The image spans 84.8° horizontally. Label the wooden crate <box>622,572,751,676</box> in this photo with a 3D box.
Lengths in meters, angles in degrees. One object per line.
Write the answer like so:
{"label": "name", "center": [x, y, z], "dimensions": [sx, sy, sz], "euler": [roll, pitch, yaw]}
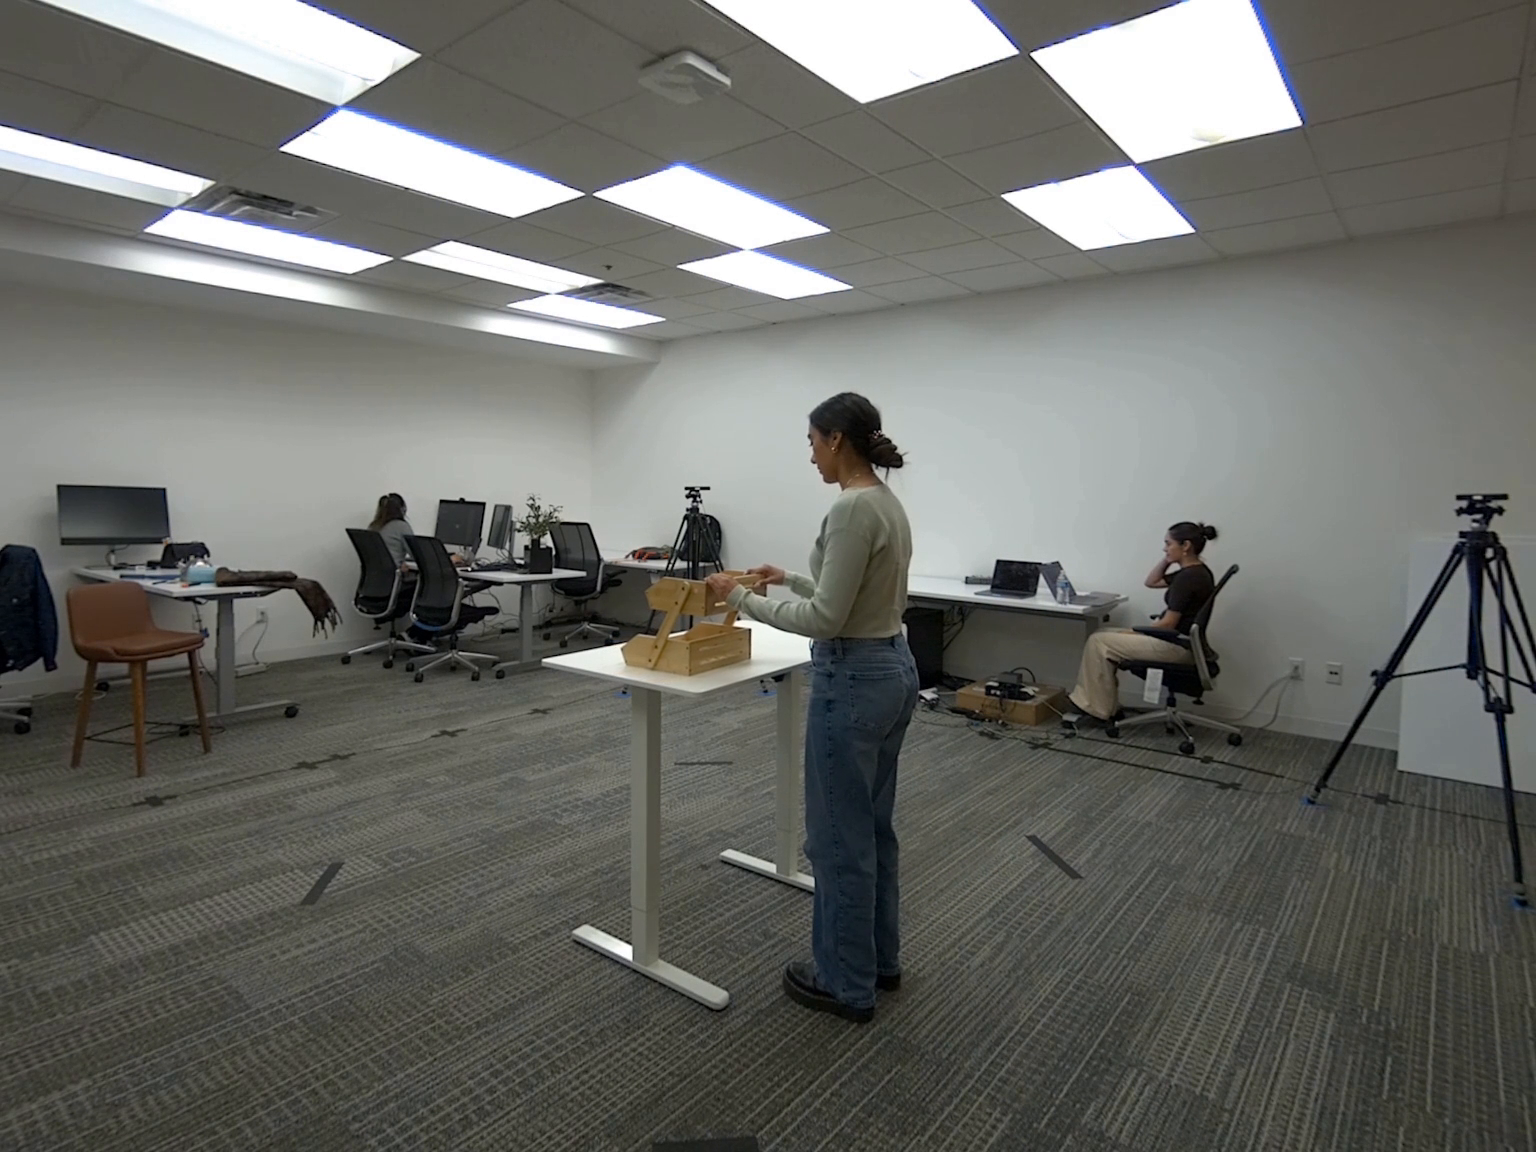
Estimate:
{"label": "wooden crate", "center": [-0.222, 0.119, 2.455], "dimensions": [0.312, 0.272, 0.315], "euler": [5, 7, 35]}
